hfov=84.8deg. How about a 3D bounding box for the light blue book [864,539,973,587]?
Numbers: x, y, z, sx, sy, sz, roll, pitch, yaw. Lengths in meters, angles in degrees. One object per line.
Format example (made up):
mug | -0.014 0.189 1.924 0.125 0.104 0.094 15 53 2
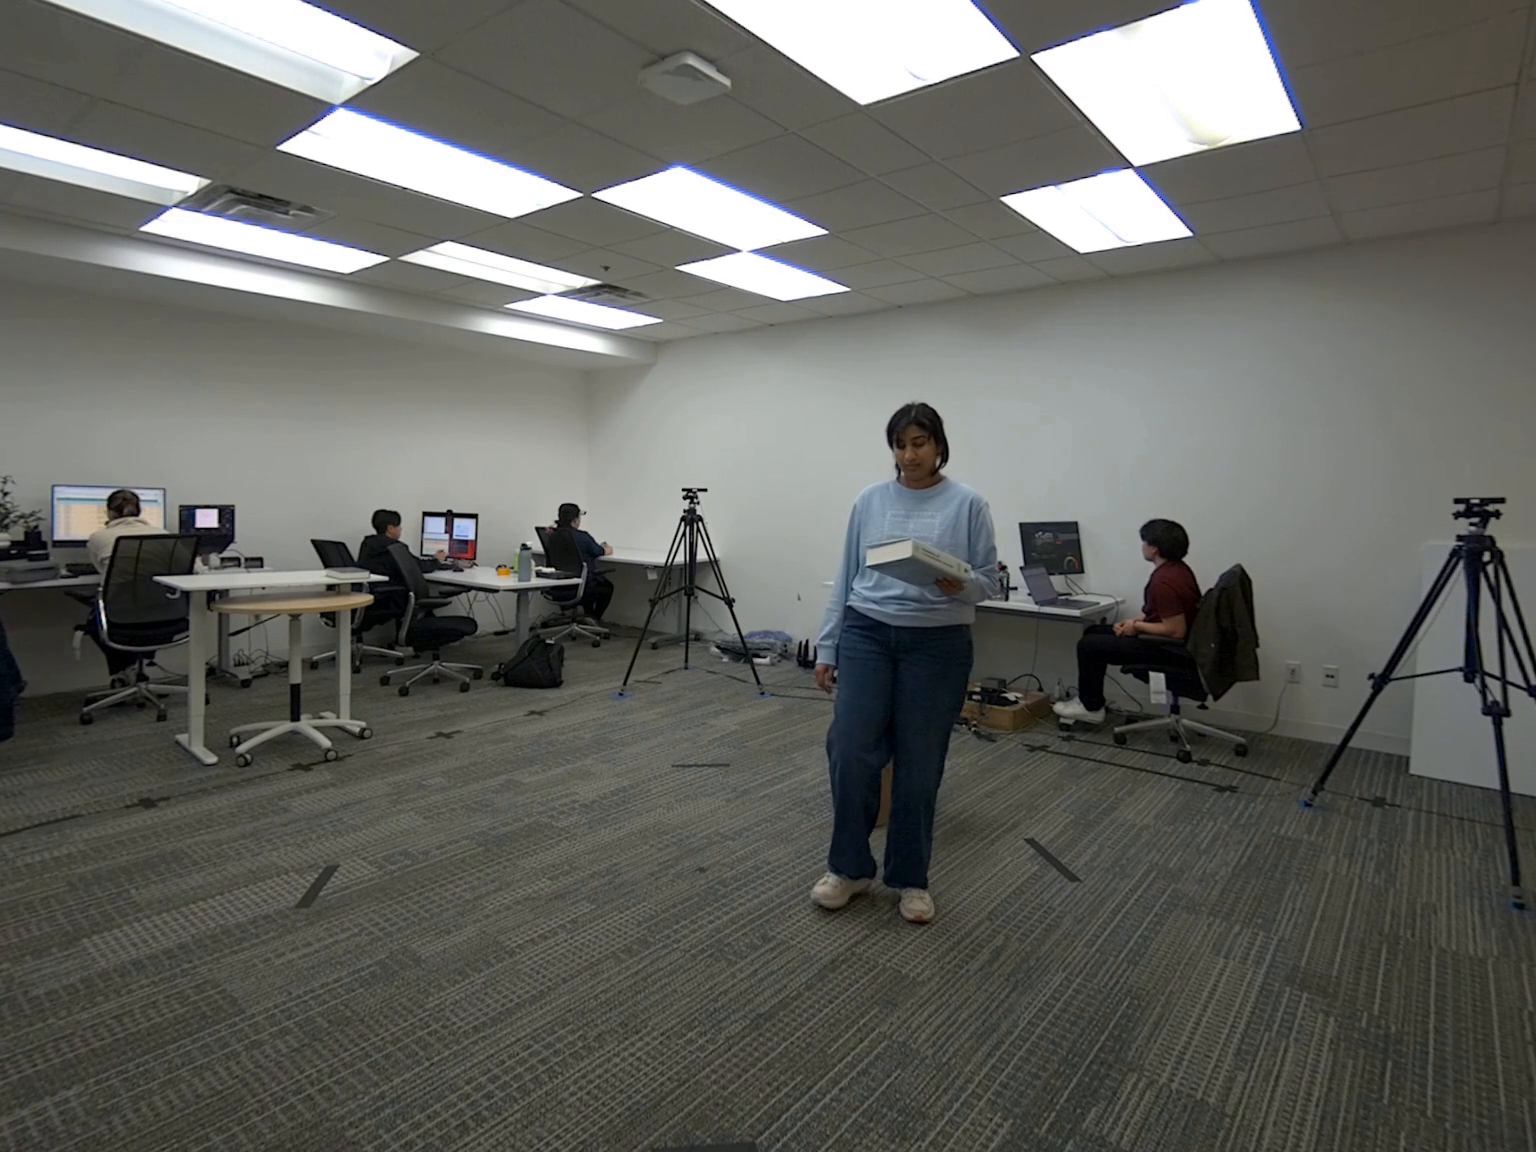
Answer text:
light blue book | 0.433 -0.038 2.547 0.251 0.060 0.196 20 -20 -35
